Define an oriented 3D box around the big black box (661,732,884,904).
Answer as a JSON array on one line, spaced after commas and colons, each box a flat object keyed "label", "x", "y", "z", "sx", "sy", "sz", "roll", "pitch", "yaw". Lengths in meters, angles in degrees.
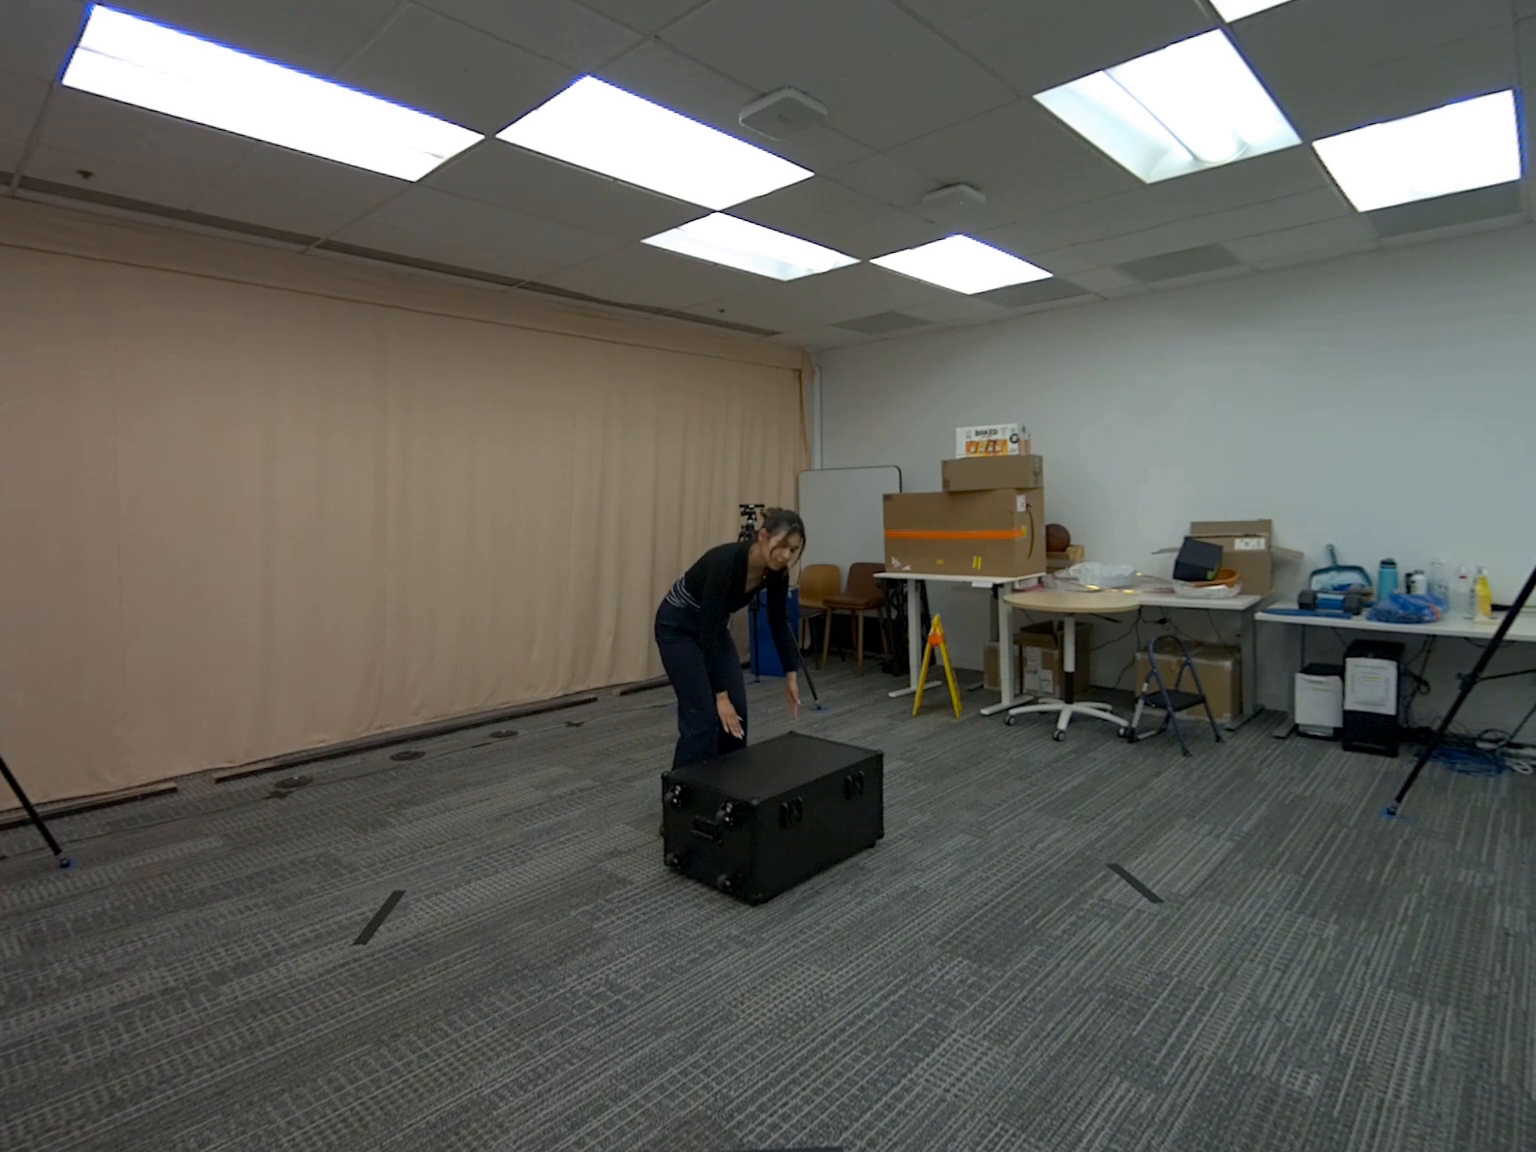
[{"label": "big black box", "x": 0.062, "y": 0.916, "z": 3.334, "sx": 0.538, "sy": 0.395, "sz": 0.836, "roll": 3, "pitch": 6, "yaw": 43}]
